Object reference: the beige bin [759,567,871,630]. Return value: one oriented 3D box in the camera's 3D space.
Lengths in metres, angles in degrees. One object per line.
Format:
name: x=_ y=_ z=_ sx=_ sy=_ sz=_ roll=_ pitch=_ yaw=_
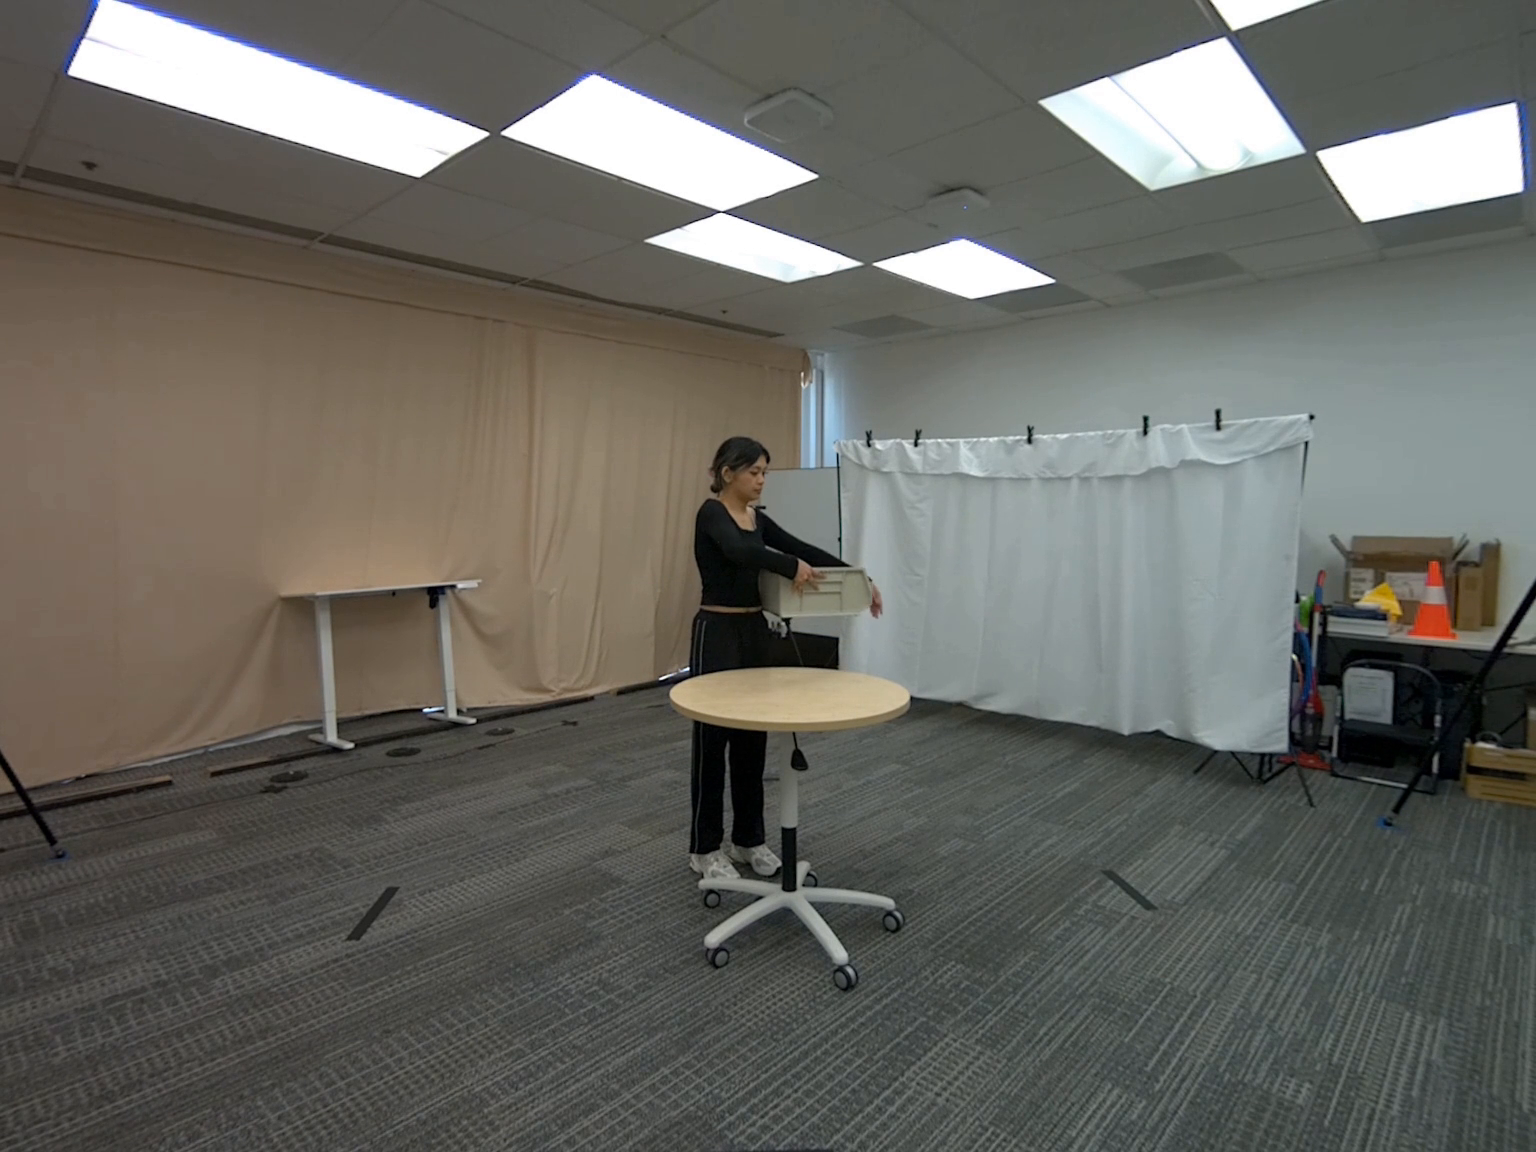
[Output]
beige bin: x=0.148 y=0.053 z=3.290 sx=0.370 sy=0.189 sz=0.431 roll=-1 pitch=3 yaw=-19
